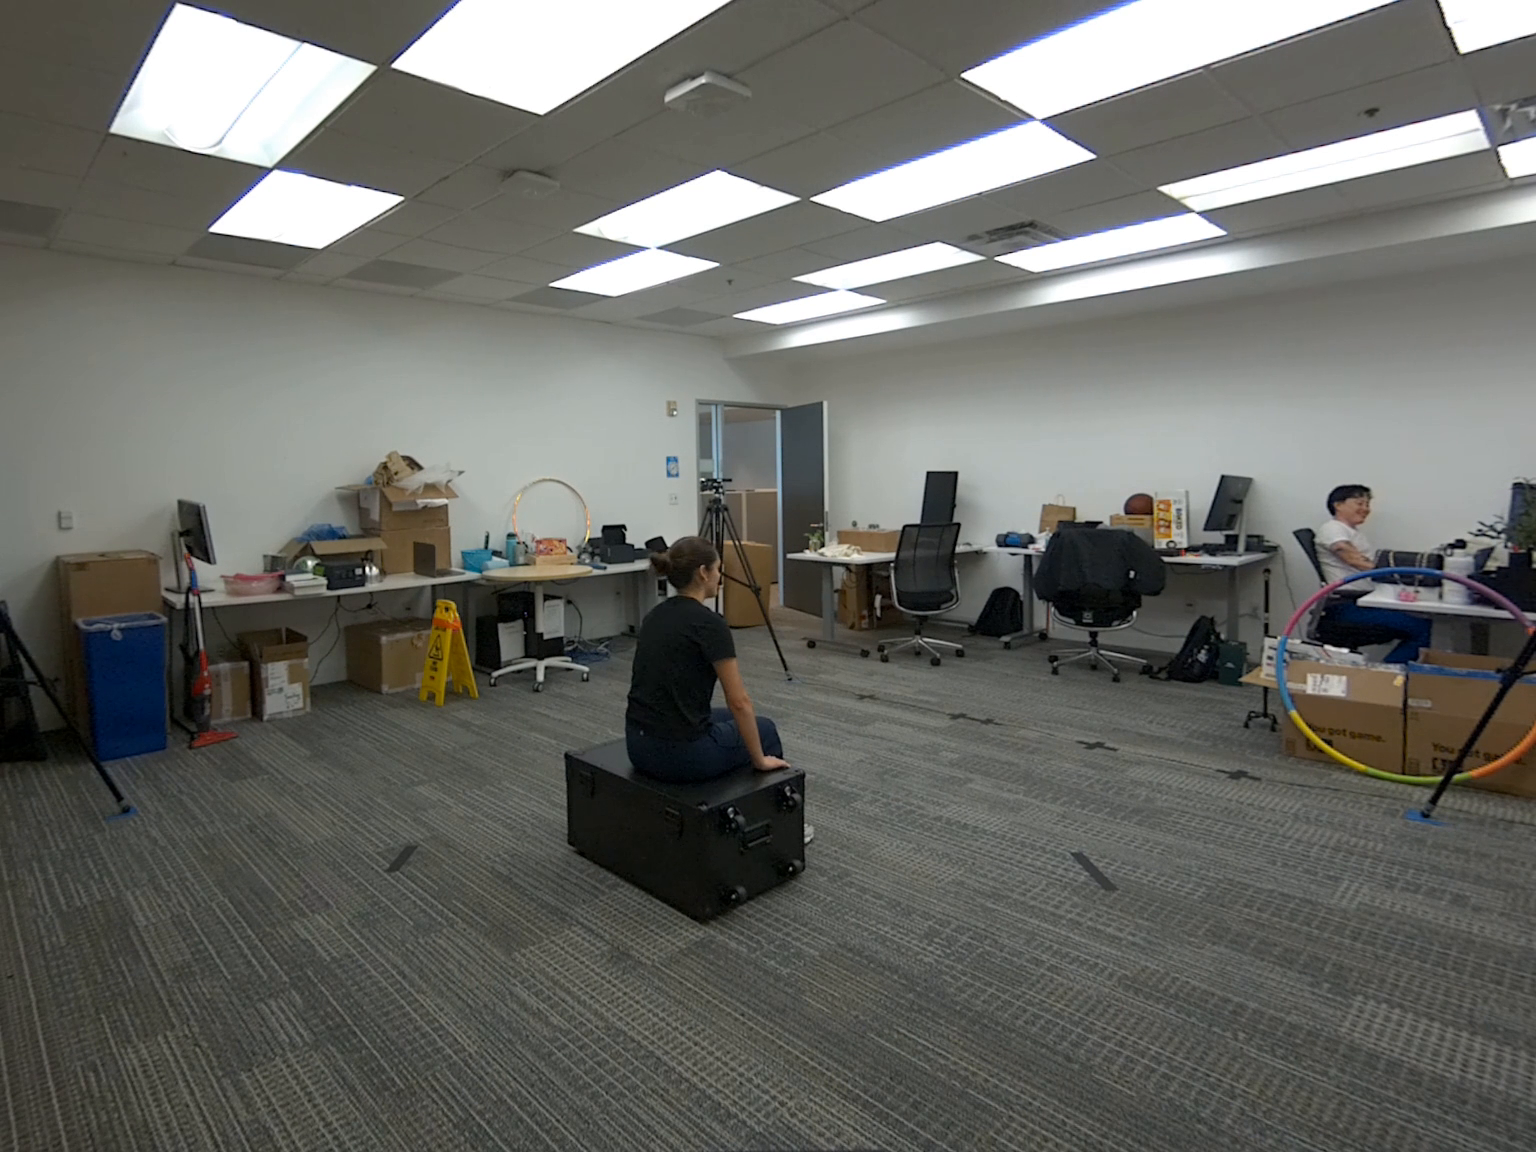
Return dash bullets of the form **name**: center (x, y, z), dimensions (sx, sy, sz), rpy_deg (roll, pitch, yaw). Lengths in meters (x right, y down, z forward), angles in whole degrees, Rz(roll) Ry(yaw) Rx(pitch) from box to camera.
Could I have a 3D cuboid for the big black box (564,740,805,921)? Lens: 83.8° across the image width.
- **big black box**: center (-0.298, 0.863, 3.093), dimensions (0.508, 0.394, 0.888), rpy_deg (-7, 8, -45)
